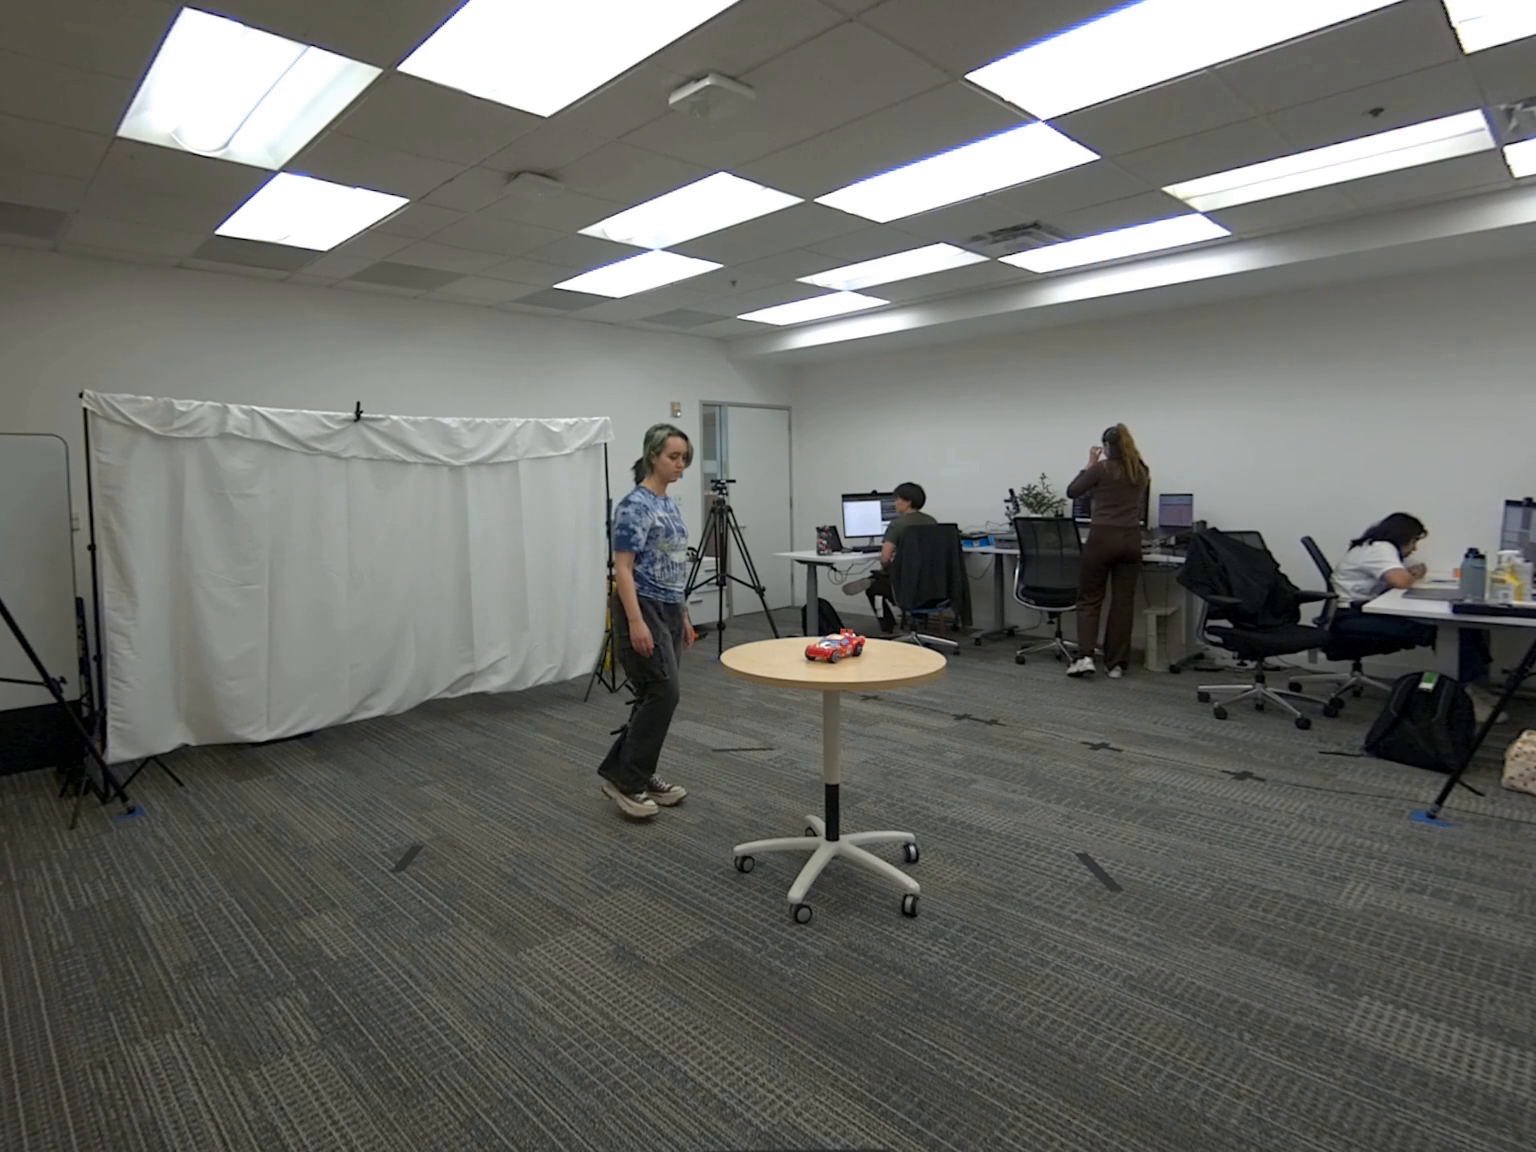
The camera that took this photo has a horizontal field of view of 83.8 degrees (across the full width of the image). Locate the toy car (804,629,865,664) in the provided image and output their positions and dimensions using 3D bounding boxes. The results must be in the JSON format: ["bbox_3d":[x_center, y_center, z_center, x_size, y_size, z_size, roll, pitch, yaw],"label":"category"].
[{"bbox_3d":[0.246,0.246,2.934,0.134,0.082,0.250,3,18,39],"label":"toy car"}]
